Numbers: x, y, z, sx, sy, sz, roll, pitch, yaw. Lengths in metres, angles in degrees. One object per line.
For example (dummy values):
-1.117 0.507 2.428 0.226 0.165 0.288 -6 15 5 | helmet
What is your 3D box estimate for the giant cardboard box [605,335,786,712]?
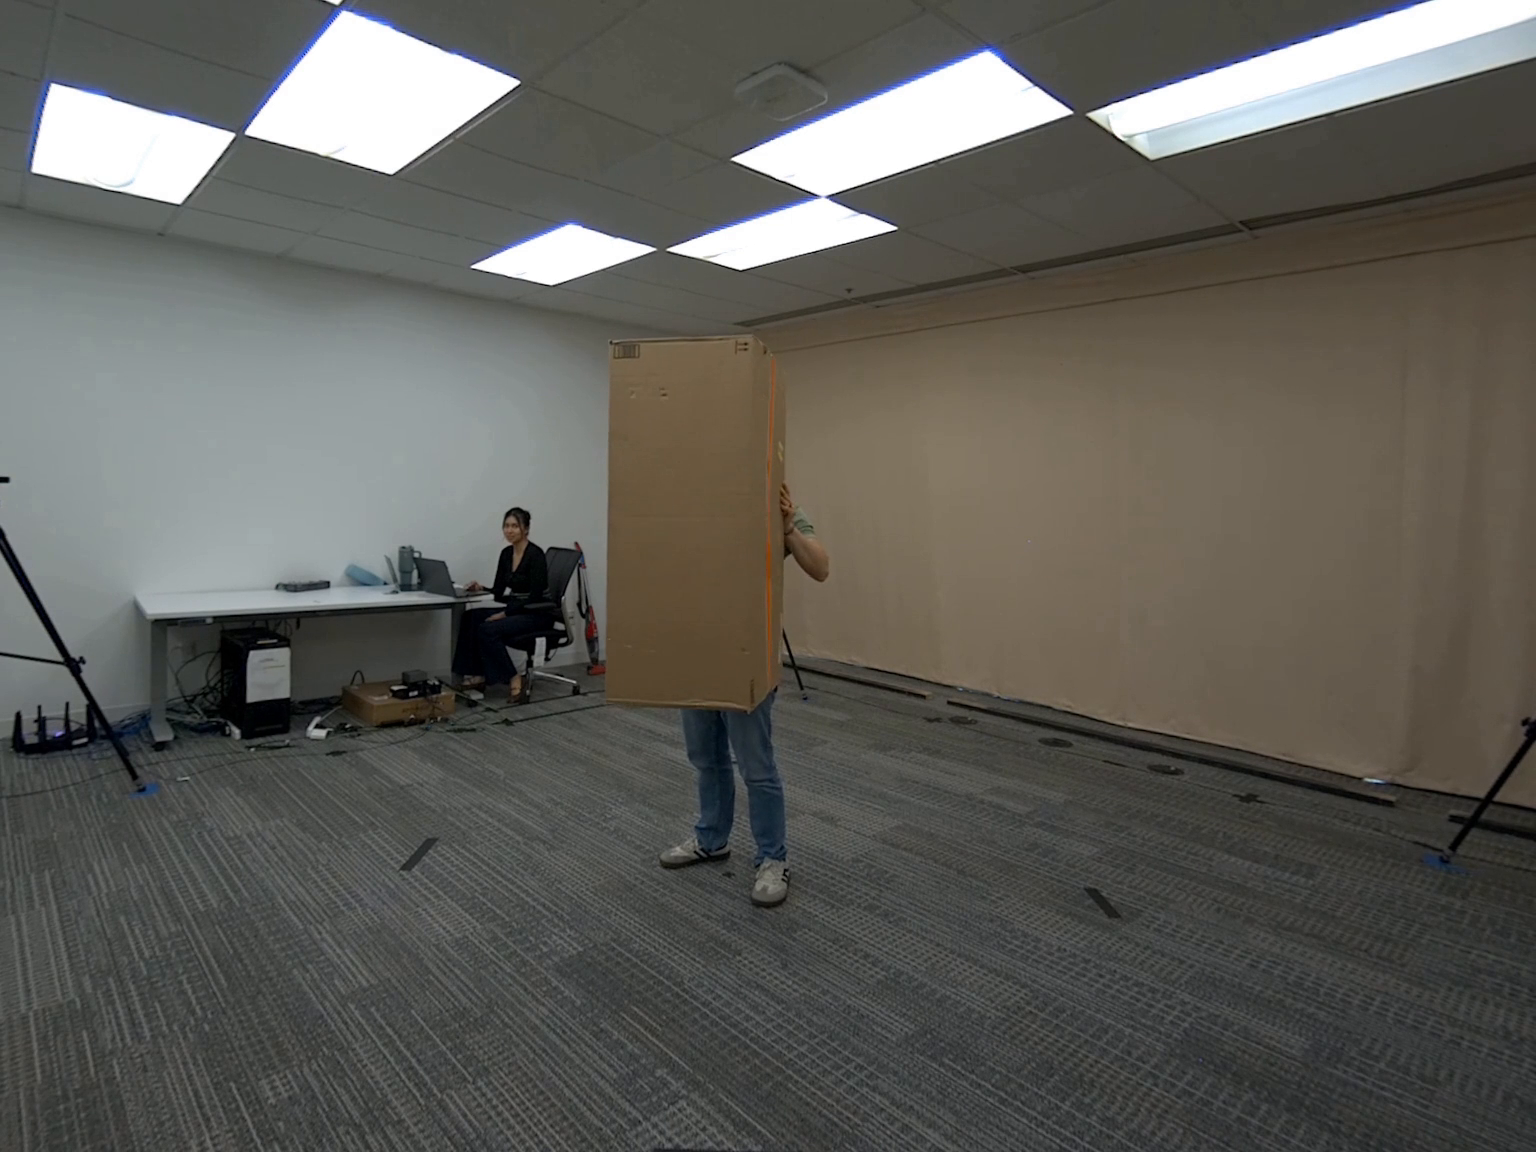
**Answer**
-0.204 -0.162 2.594 0.430 1.026 0.572 0 0 11 | giant cardboard box
